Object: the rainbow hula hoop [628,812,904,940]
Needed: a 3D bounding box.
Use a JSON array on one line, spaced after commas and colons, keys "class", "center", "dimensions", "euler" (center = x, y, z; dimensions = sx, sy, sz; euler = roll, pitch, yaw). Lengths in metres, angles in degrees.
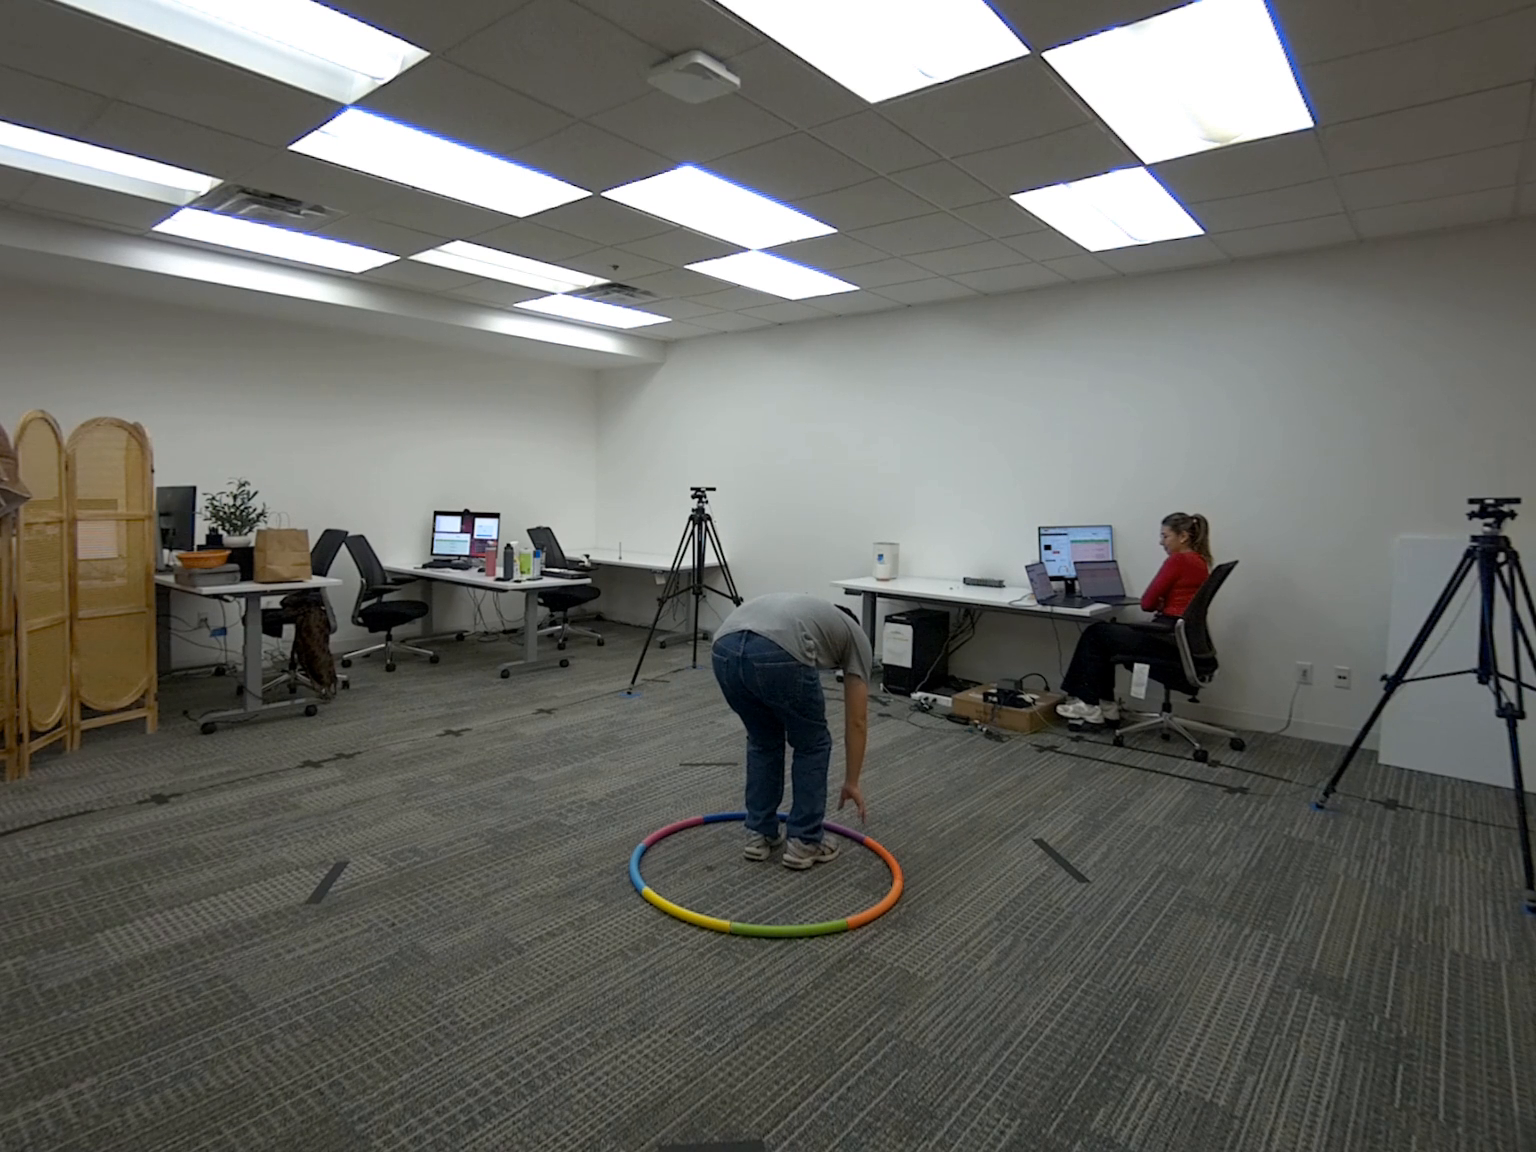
[{"class": "rainbow hula hoop", "center": [-0.018, 1.039, 3.106], "dimensions": [0.978, 0.035, 0.984], "euler": [1, 6, -2]}]
